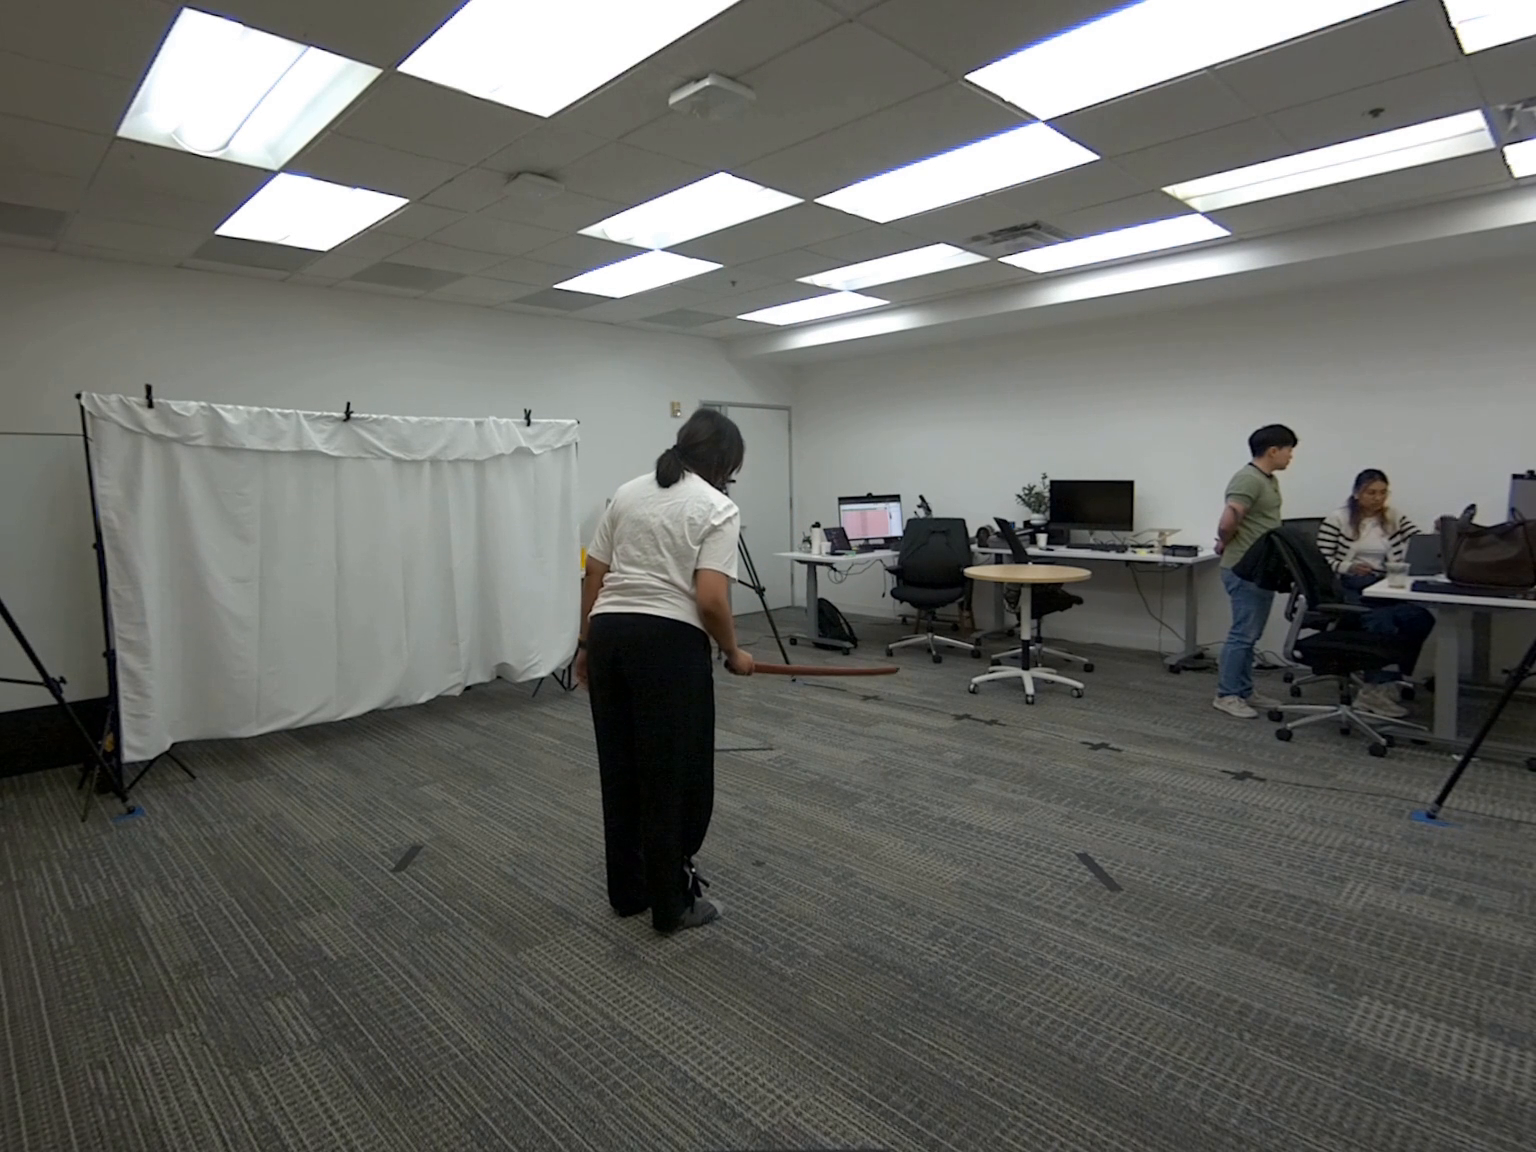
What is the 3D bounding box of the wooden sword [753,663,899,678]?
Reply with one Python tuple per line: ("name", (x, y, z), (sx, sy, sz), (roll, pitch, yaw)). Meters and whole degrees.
("wooden sword", (0.225, 0.343, 3.111), (0.024, 0.052, 0.991), (-14, -15, 38))
